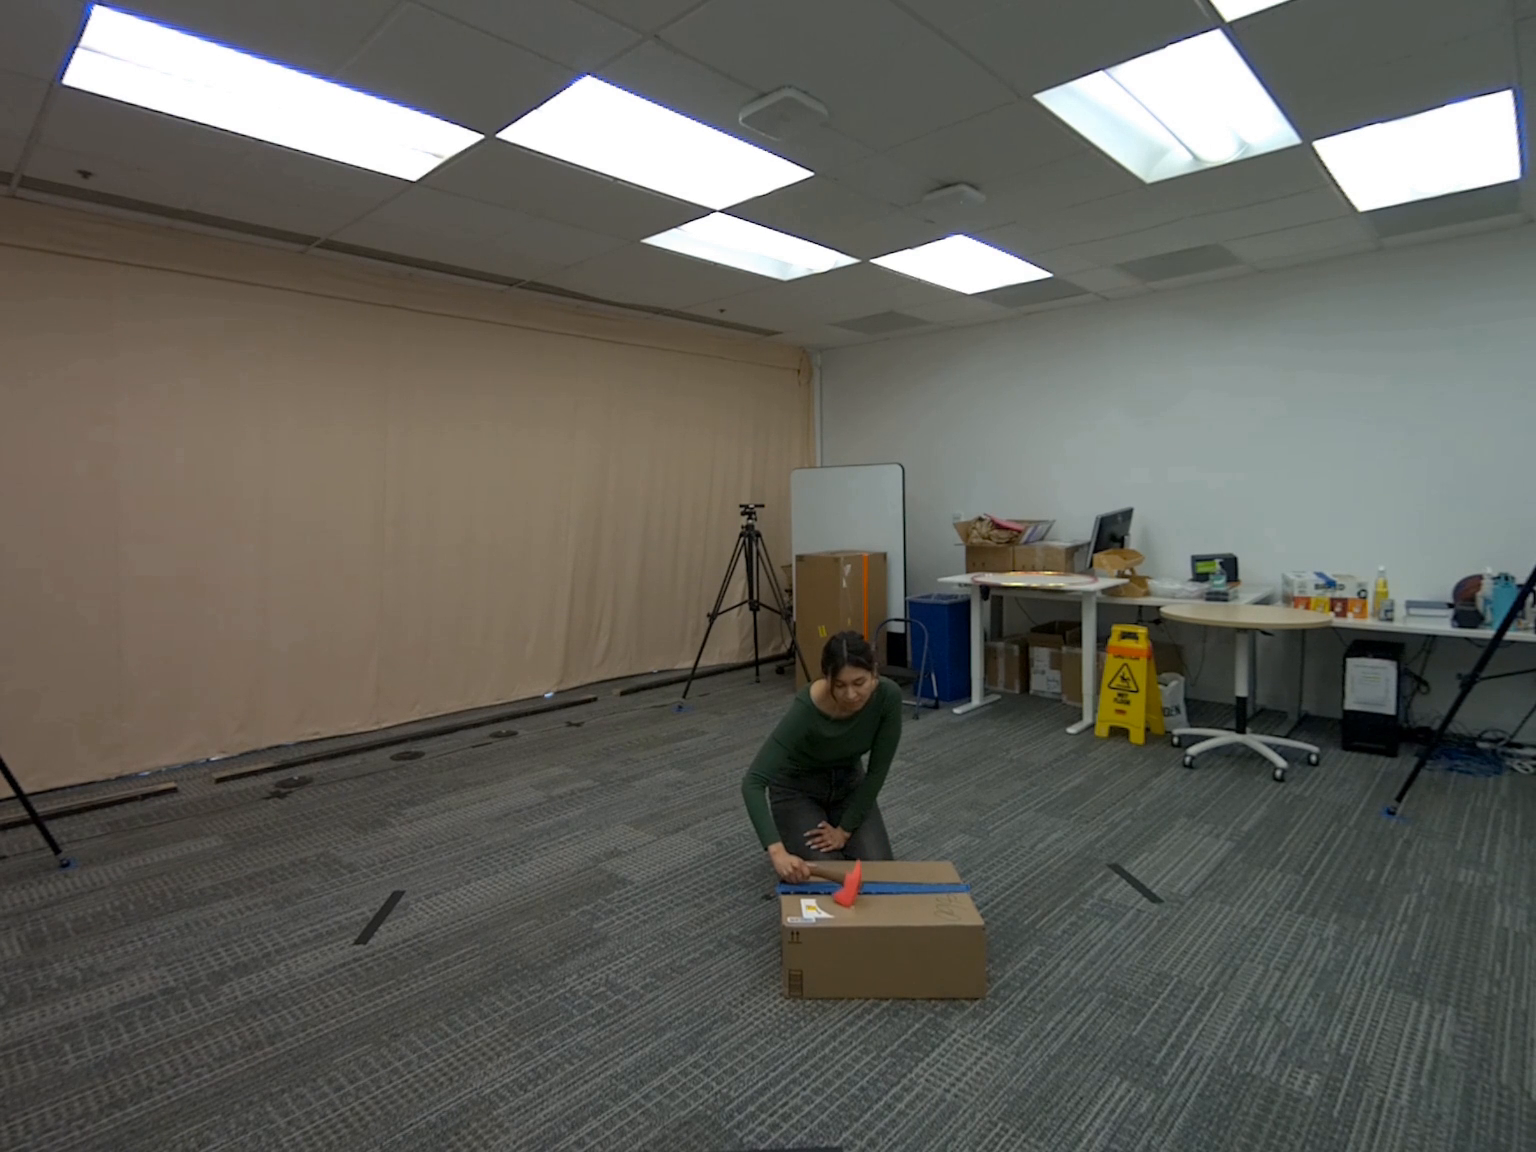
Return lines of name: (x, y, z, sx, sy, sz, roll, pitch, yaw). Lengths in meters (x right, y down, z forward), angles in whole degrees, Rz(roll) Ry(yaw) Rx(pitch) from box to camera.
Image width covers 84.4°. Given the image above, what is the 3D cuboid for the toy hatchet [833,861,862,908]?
toy hatchet: (0.156, 0.929, 2.517, 0.274, 0.133, 0.028, -14, -37, 19)
